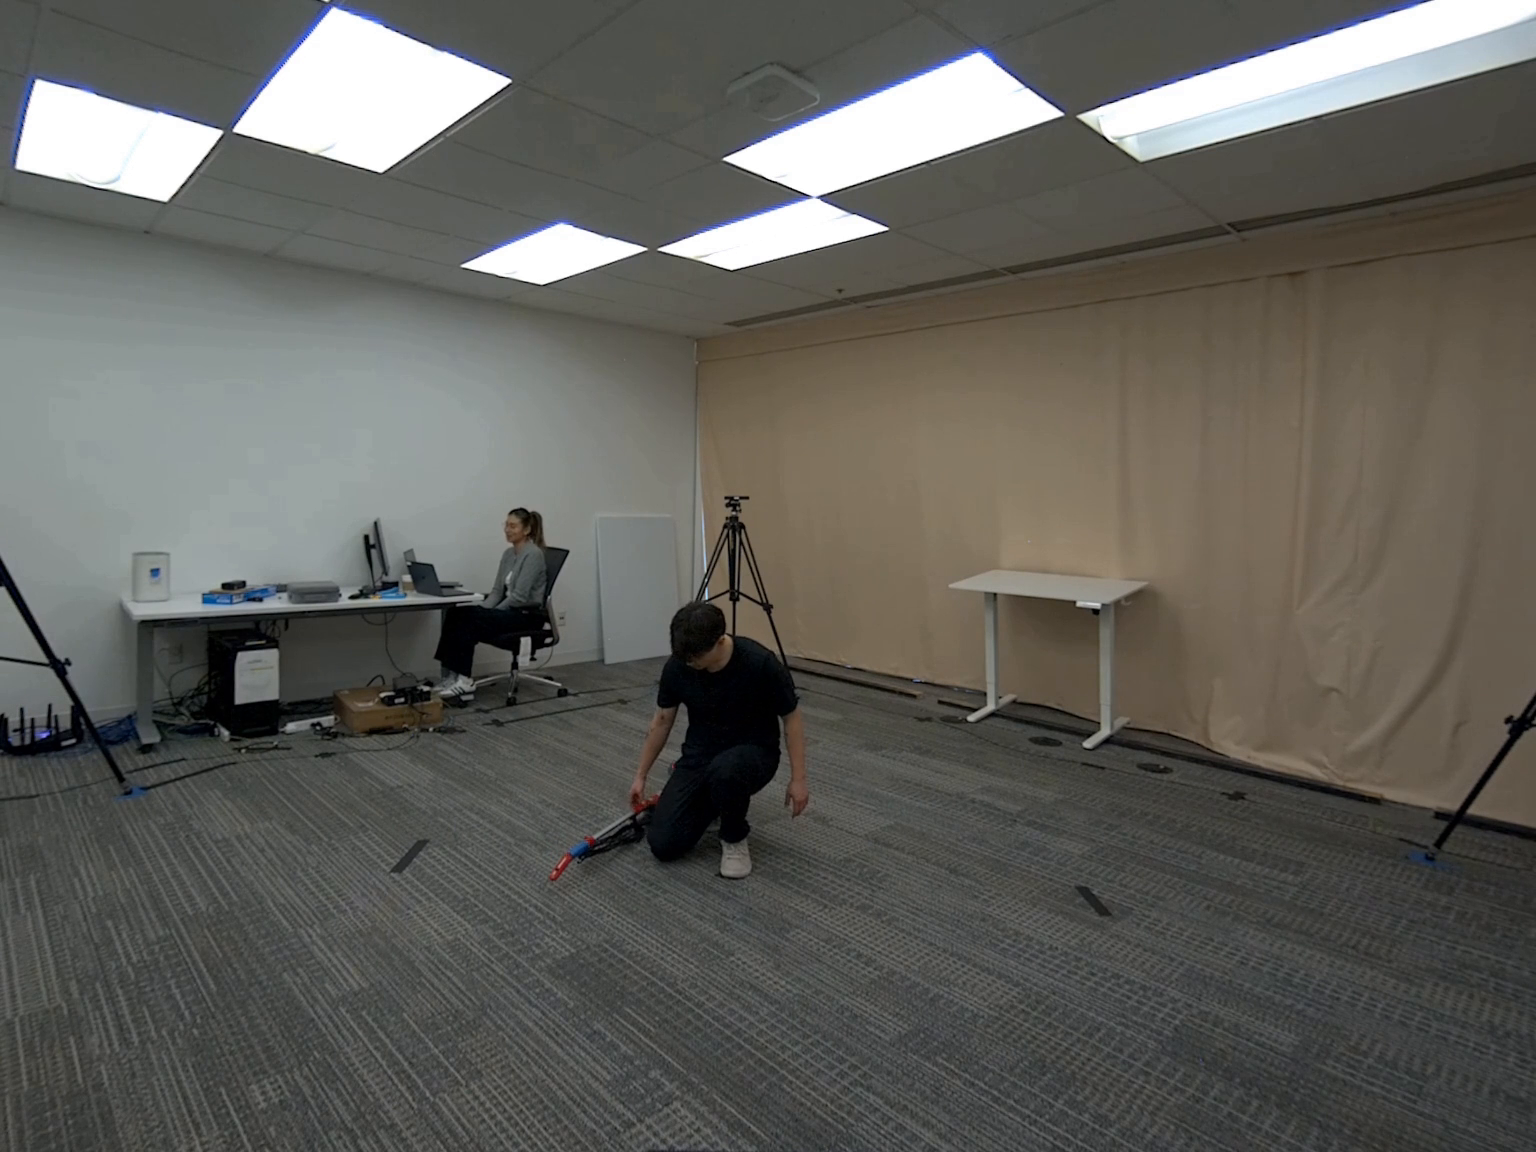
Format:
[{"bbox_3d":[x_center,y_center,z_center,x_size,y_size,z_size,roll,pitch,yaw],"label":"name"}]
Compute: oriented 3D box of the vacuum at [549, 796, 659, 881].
[{"bbox_3d":[-0.564,1.005,3.416,0.257,0.143,1.035,16,12,20],"label":"vacuum"}]
